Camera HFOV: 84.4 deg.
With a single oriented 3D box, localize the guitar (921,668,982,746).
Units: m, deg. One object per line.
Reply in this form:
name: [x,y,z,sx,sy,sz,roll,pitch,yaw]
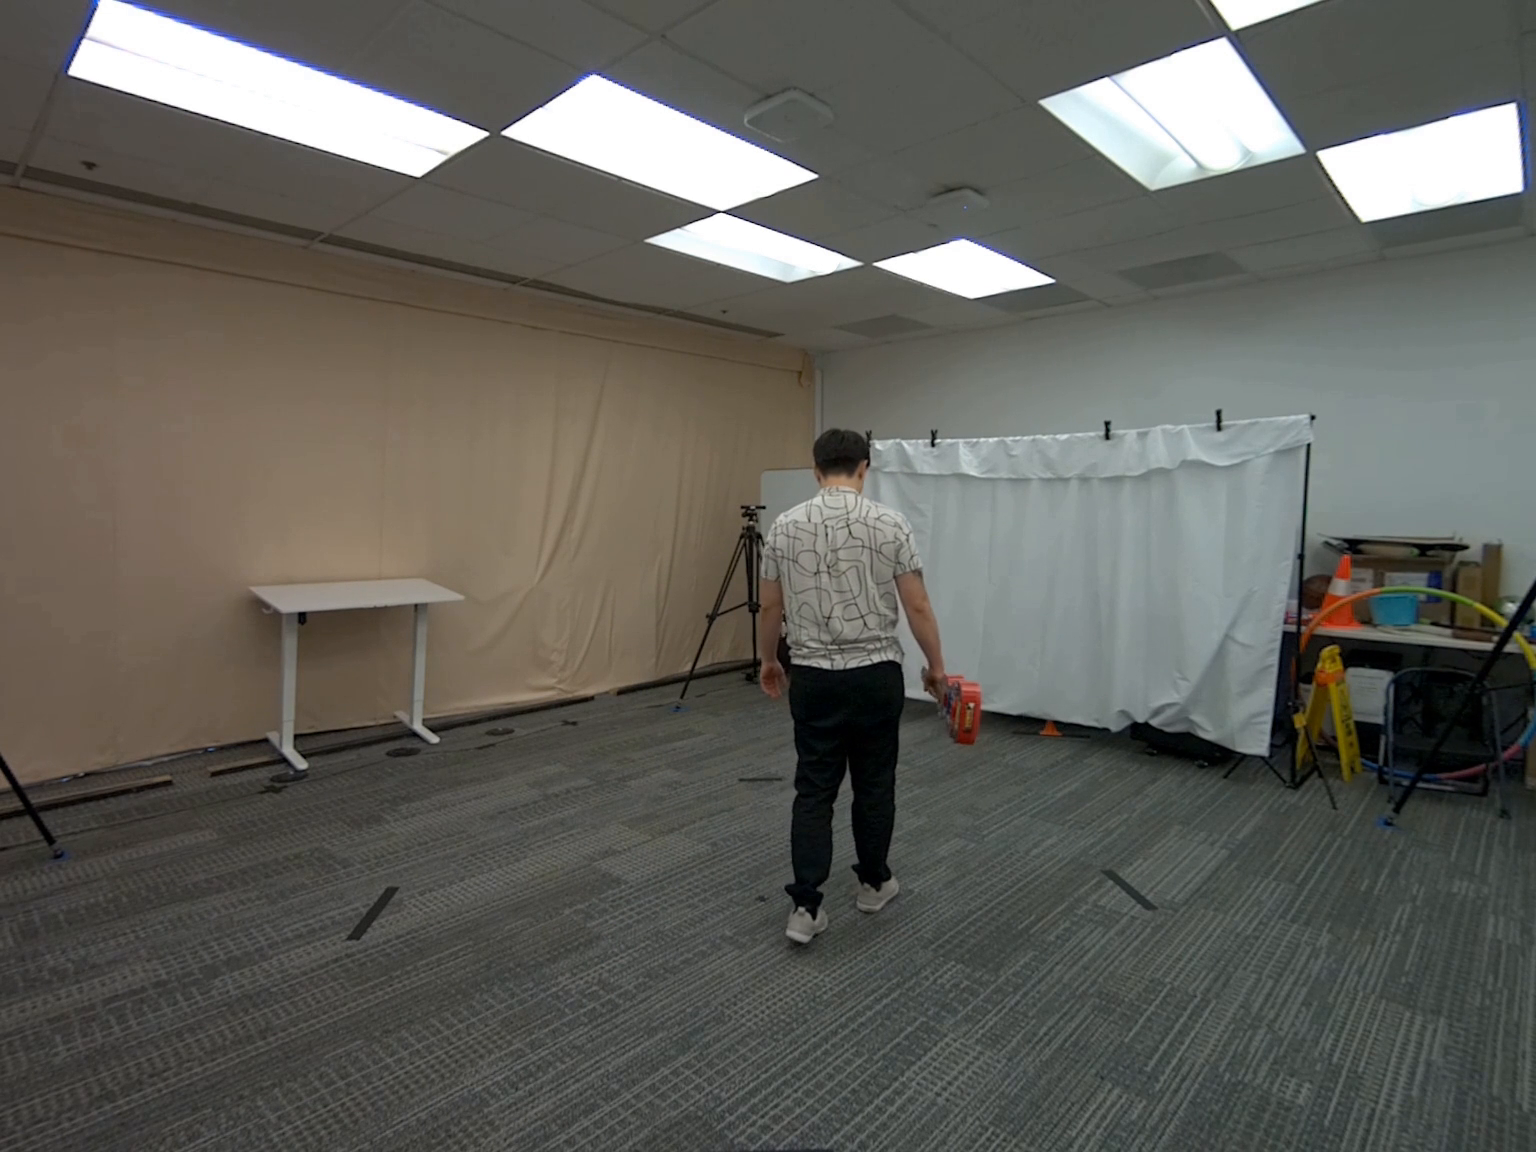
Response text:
guitar: [0.581,0.361,2.754,0.070,0.191,0.503,1,17,-3]
